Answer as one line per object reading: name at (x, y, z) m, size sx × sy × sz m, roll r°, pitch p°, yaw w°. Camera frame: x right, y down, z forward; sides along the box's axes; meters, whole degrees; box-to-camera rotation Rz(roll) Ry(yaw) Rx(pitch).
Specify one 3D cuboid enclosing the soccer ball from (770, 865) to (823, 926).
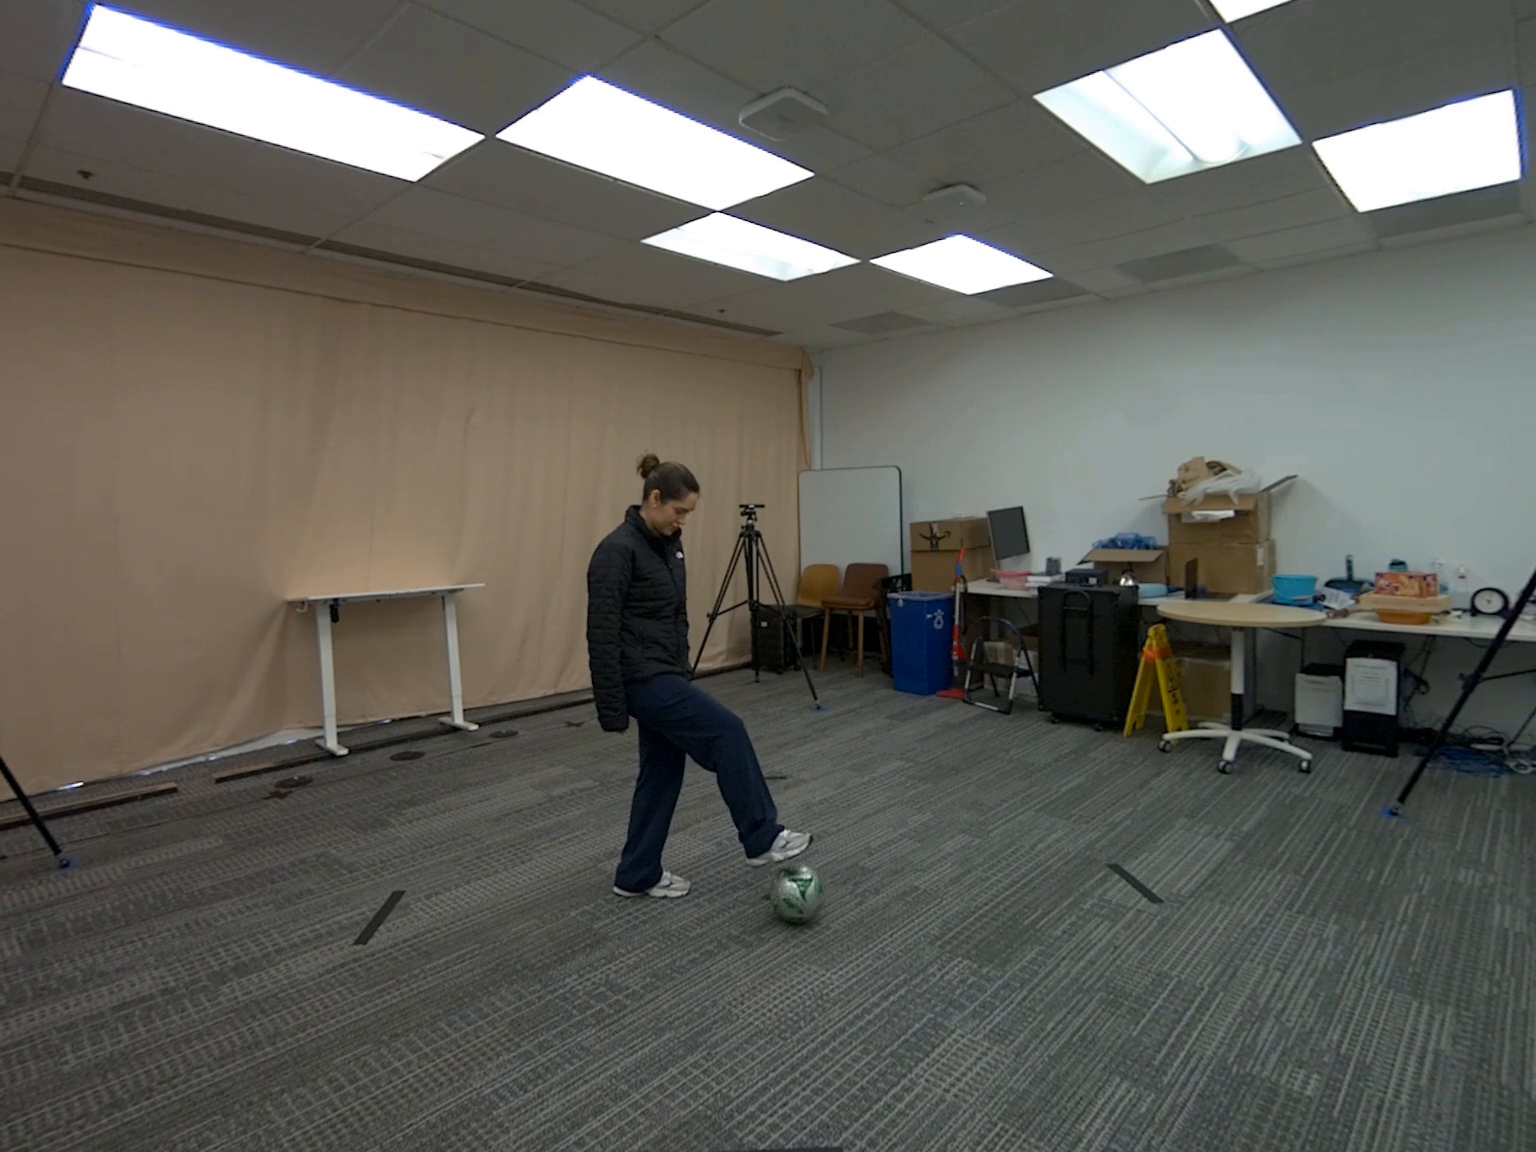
soccer ball at (0.100, 1.058, 2.810) m, size 0.187 × 0.187 × 0.188 m, roll -1°, pitch 4°, yaw -2°
